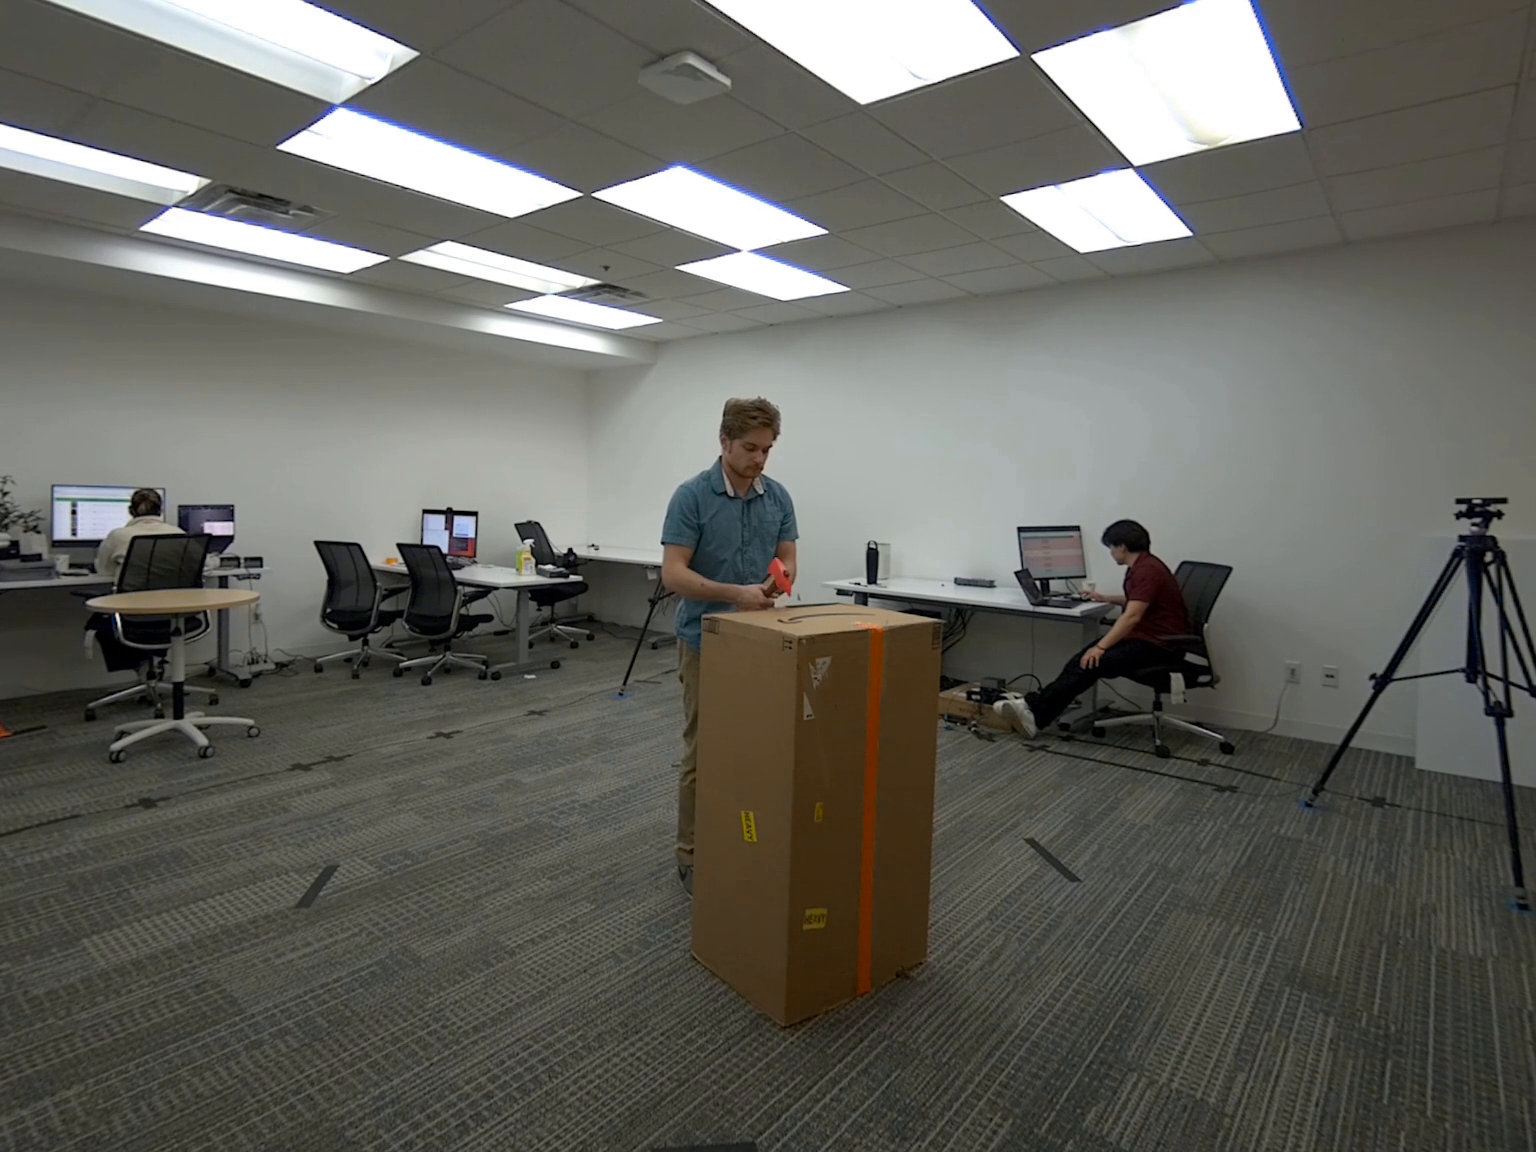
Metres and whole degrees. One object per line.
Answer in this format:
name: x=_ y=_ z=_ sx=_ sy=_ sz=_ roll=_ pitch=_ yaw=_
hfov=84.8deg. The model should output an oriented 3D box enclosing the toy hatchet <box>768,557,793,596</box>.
toy hatchet: x=-0.009 y=0.024 z=2.684 sx=0.029 sy=0.132 sz=0.274 roll=-7 pitch=-6 yaw=-30
